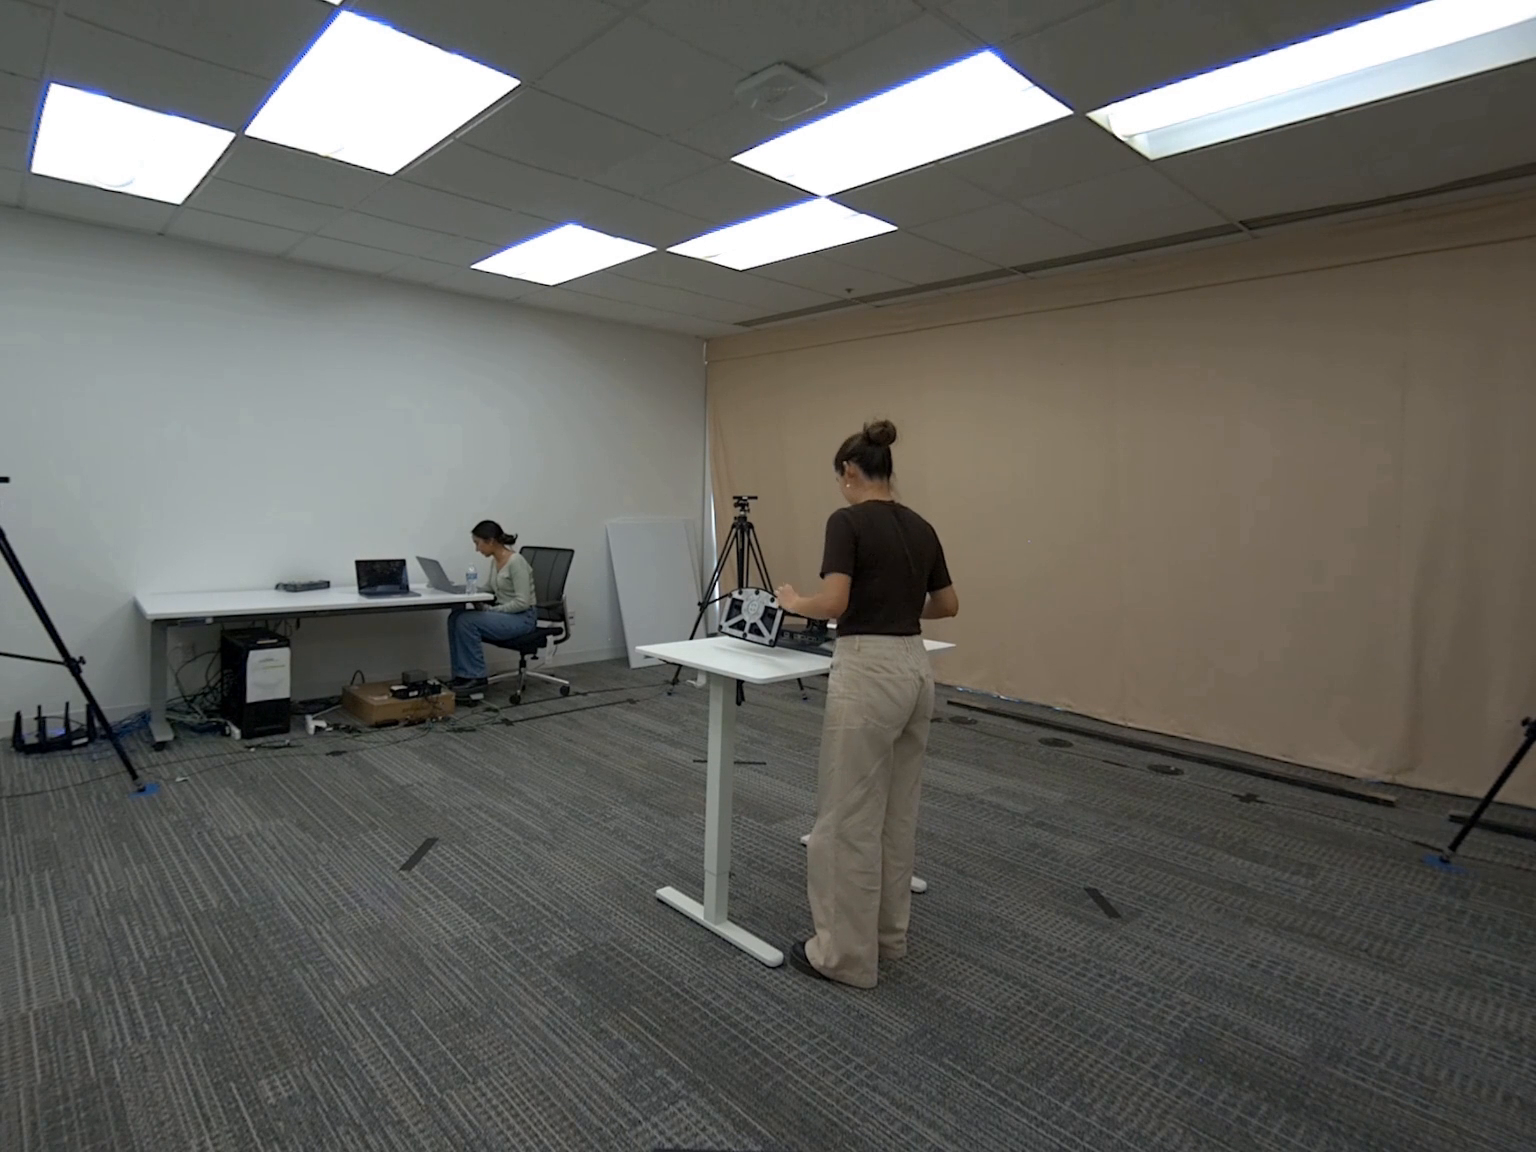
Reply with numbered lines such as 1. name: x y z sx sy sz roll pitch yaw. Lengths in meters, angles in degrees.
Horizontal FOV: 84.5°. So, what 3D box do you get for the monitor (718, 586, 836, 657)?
1. monitor: 0.106 0.186 2.943 0.507 0.187 0.554 18 -5 -43
